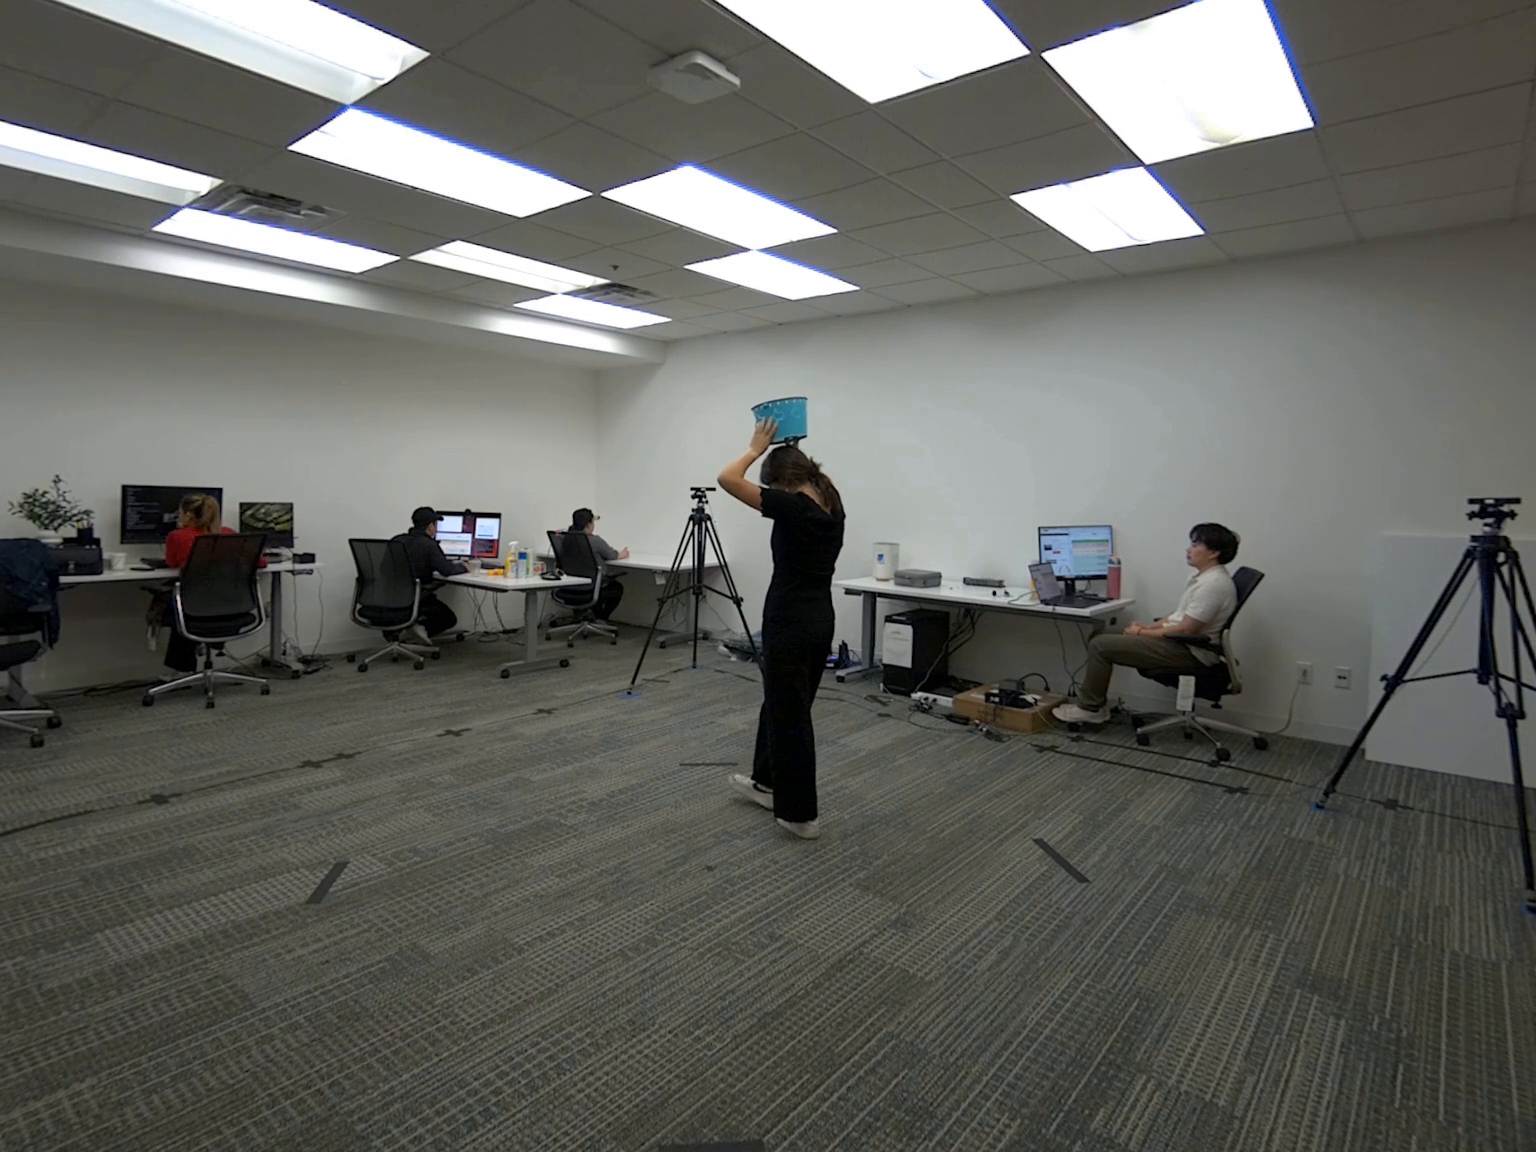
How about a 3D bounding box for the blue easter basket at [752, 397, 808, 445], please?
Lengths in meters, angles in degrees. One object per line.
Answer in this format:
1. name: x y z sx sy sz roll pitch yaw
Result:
1. blue easter basket: 0.054 -0.632 3.479 0.243 0.156 0.244 -10 2 -2
